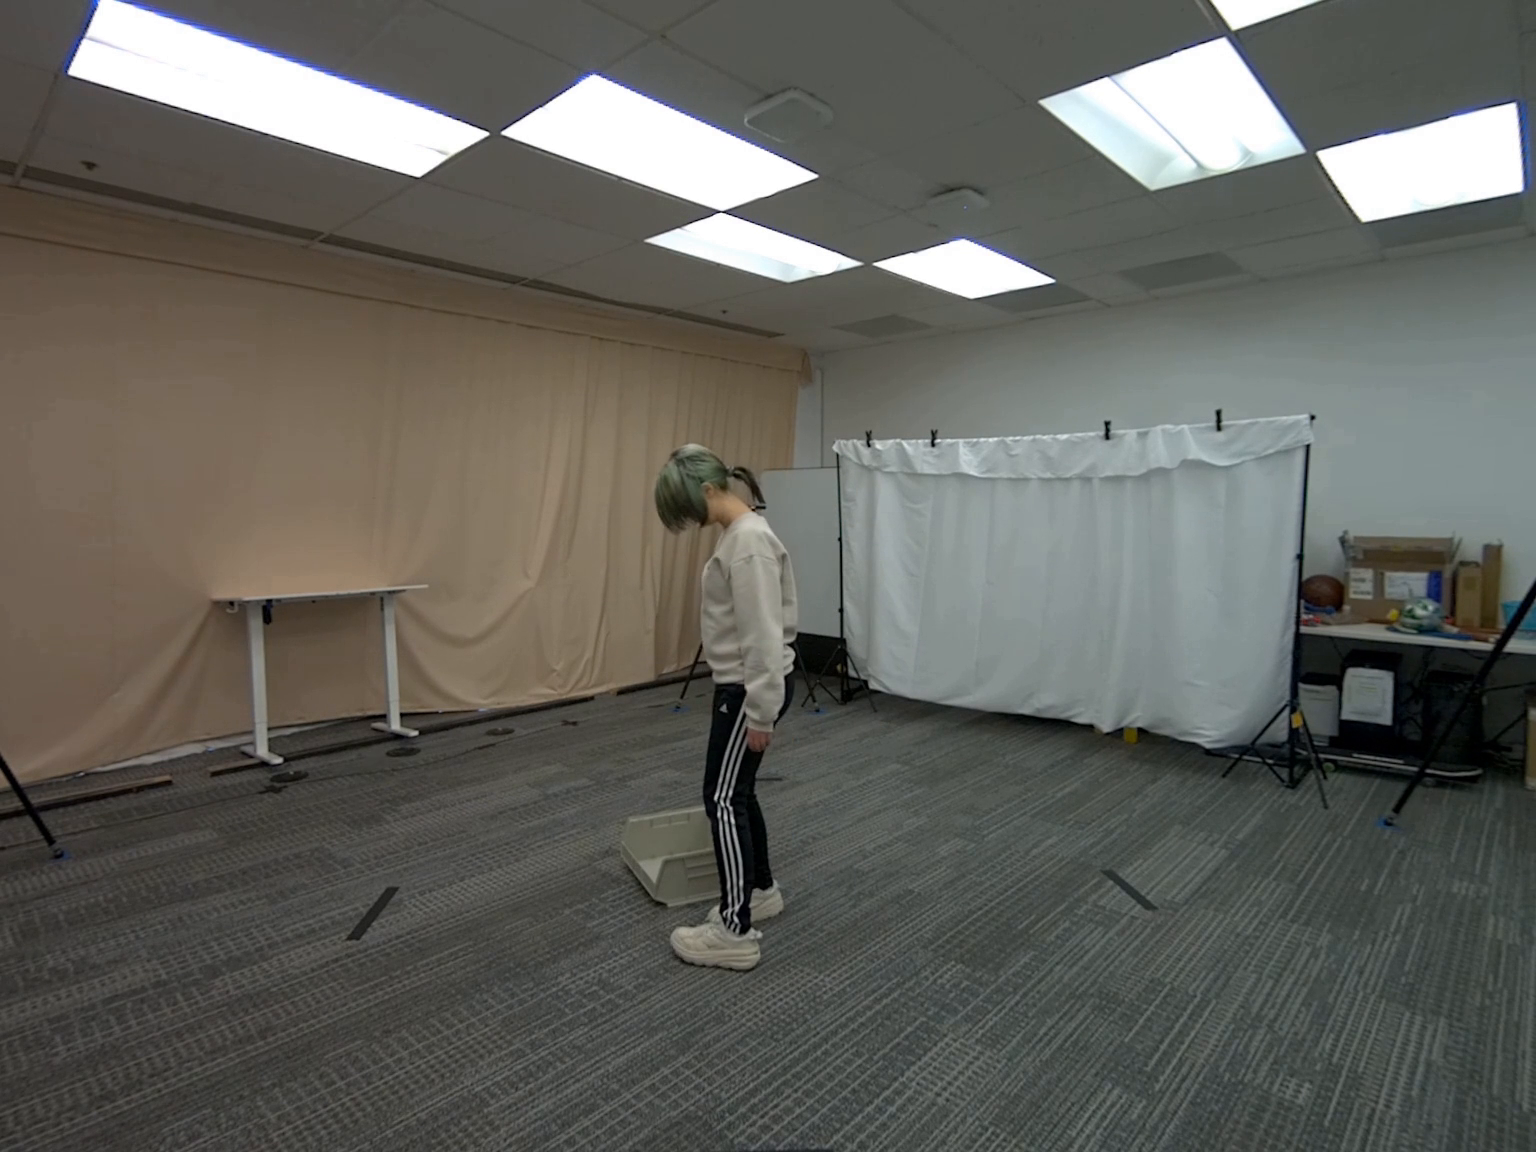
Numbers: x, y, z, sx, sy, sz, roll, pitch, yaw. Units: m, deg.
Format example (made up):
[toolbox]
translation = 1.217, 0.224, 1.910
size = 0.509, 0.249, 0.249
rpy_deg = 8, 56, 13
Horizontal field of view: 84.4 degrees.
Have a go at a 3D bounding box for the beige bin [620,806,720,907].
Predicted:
[beige bin]
translation = -0.316, 1.042, 3.156
size = 0.368, 0.189, 0.433
rpy_deg = -1, 4, -25
